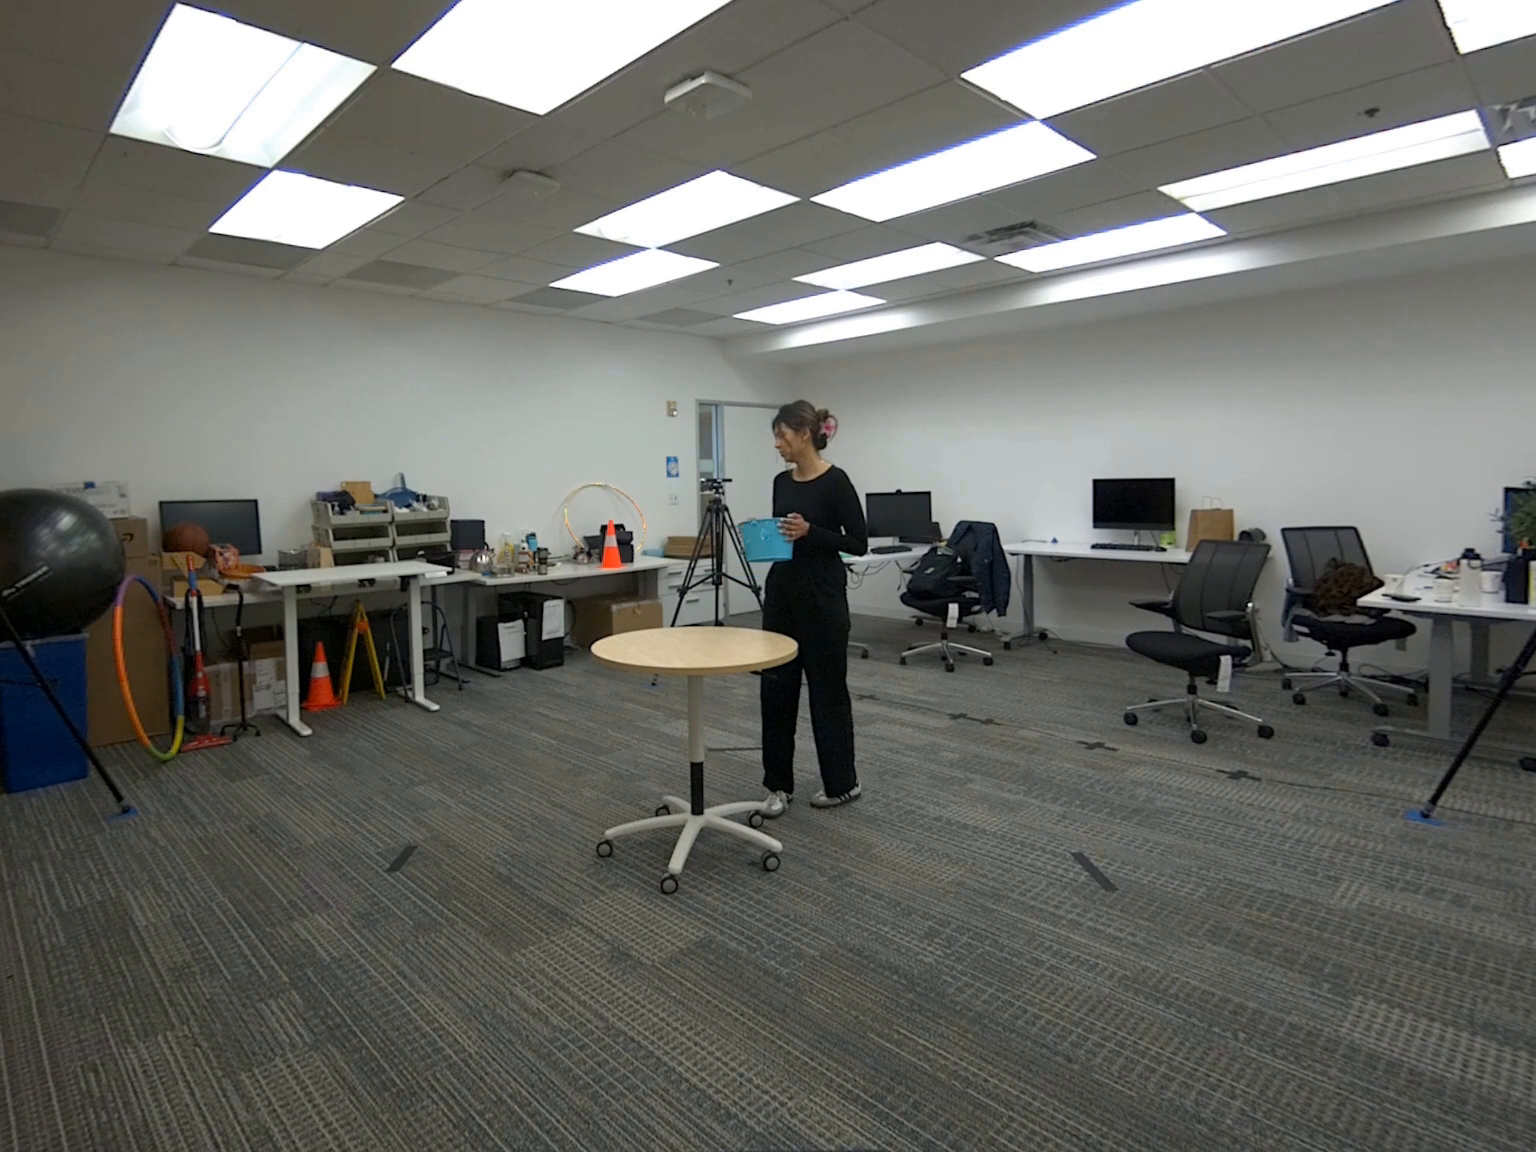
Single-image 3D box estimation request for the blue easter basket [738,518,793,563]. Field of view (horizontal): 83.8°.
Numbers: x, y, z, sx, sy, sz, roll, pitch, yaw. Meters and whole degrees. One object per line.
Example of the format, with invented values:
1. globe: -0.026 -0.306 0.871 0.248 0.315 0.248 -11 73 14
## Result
1. blue easter basket: 0.003 -0.137 3.424 0.243 0.157 0.243 -2 -4 -2
